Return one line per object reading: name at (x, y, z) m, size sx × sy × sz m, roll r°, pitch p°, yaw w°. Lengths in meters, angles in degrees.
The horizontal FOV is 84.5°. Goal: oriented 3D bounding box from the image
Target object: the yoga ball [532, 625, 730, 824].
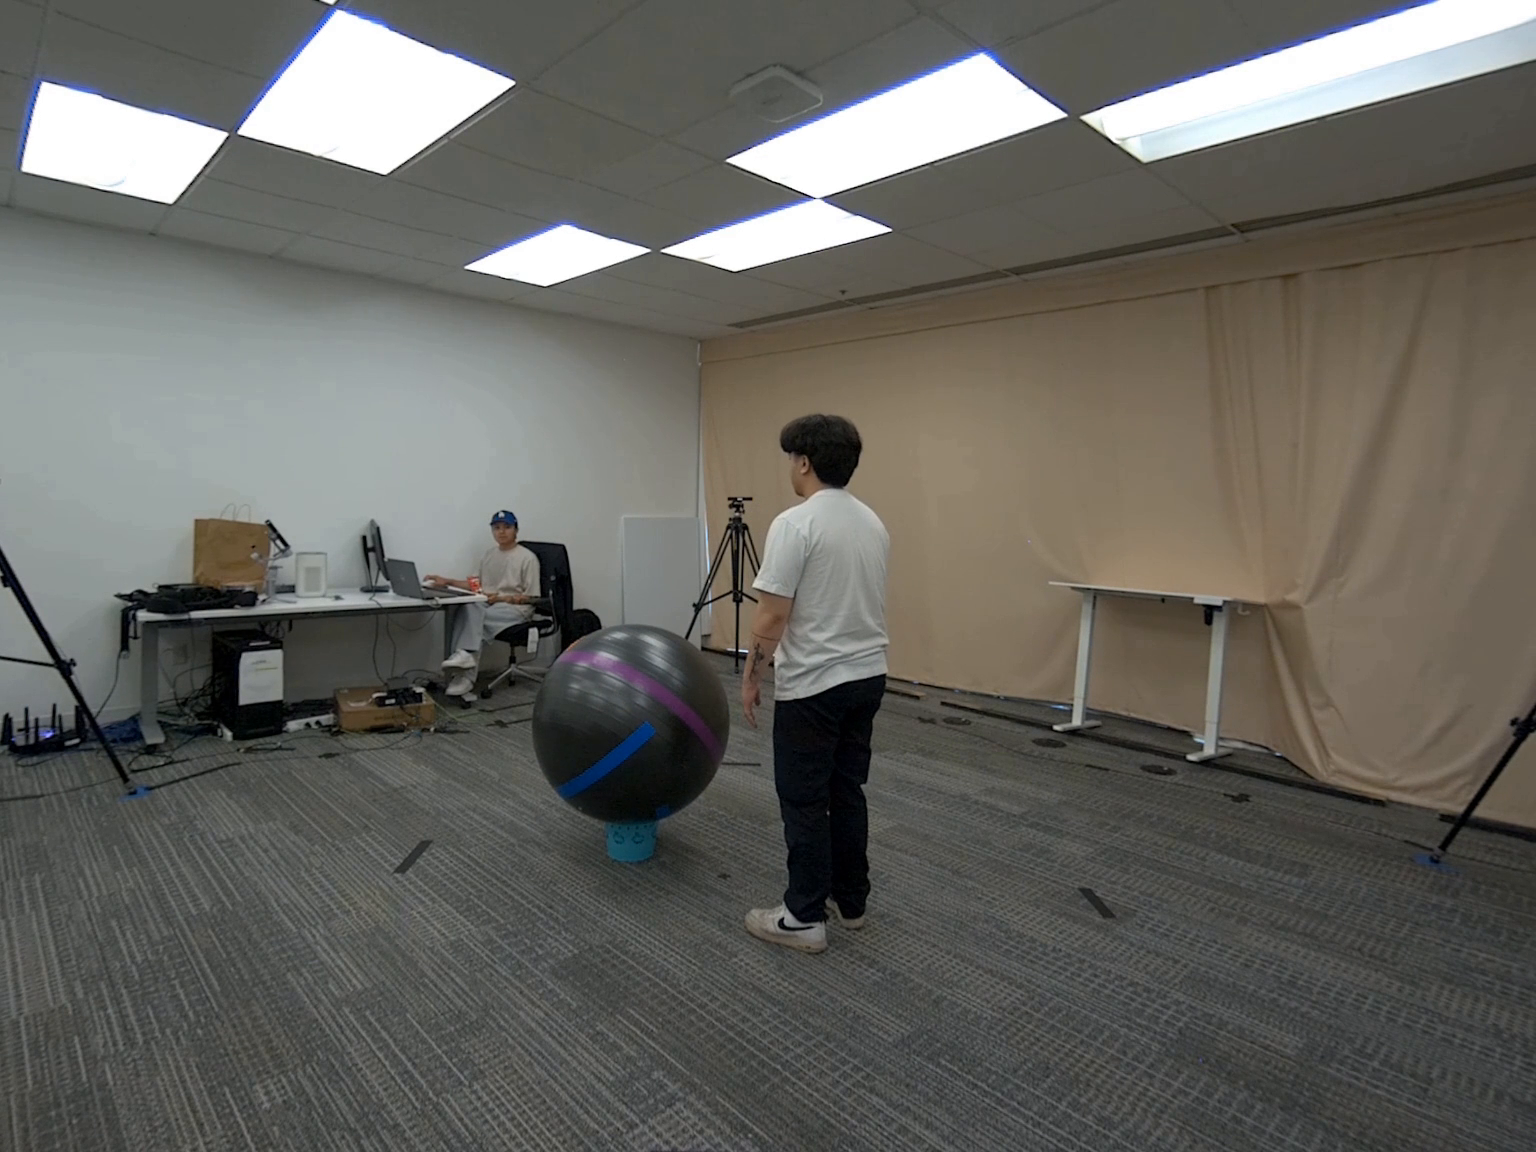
yoga ball at (-0.532, 0.571, 3.287) m, size 0.757 × 0.756 × 0.760 m, roll 1°, pitch 4°, yaw -1°
